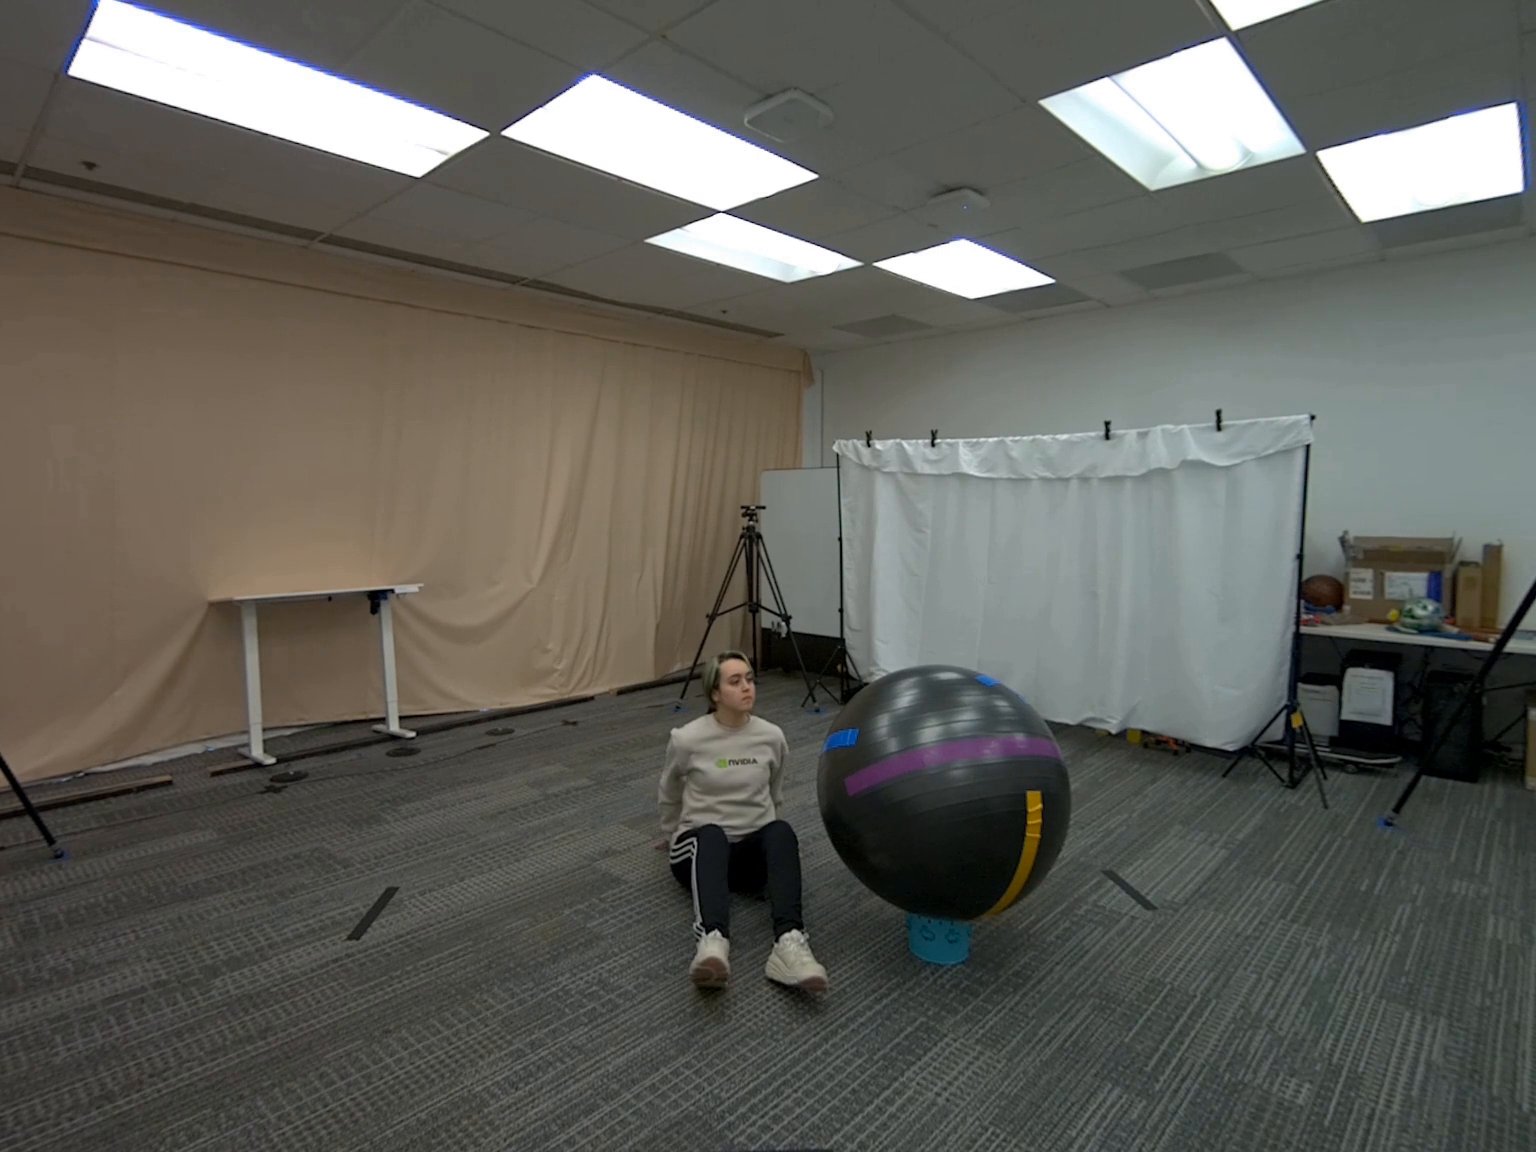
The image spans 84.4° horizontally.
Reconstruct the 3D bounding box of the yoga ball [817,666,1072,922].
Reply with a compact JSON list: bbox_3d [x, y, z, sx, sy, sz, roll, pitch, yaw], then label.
[{"bbox_3d":[0.536,0.664,2.616,0.757,0.756,0.761,0,4,-2],"label":"yoga ball"}]
